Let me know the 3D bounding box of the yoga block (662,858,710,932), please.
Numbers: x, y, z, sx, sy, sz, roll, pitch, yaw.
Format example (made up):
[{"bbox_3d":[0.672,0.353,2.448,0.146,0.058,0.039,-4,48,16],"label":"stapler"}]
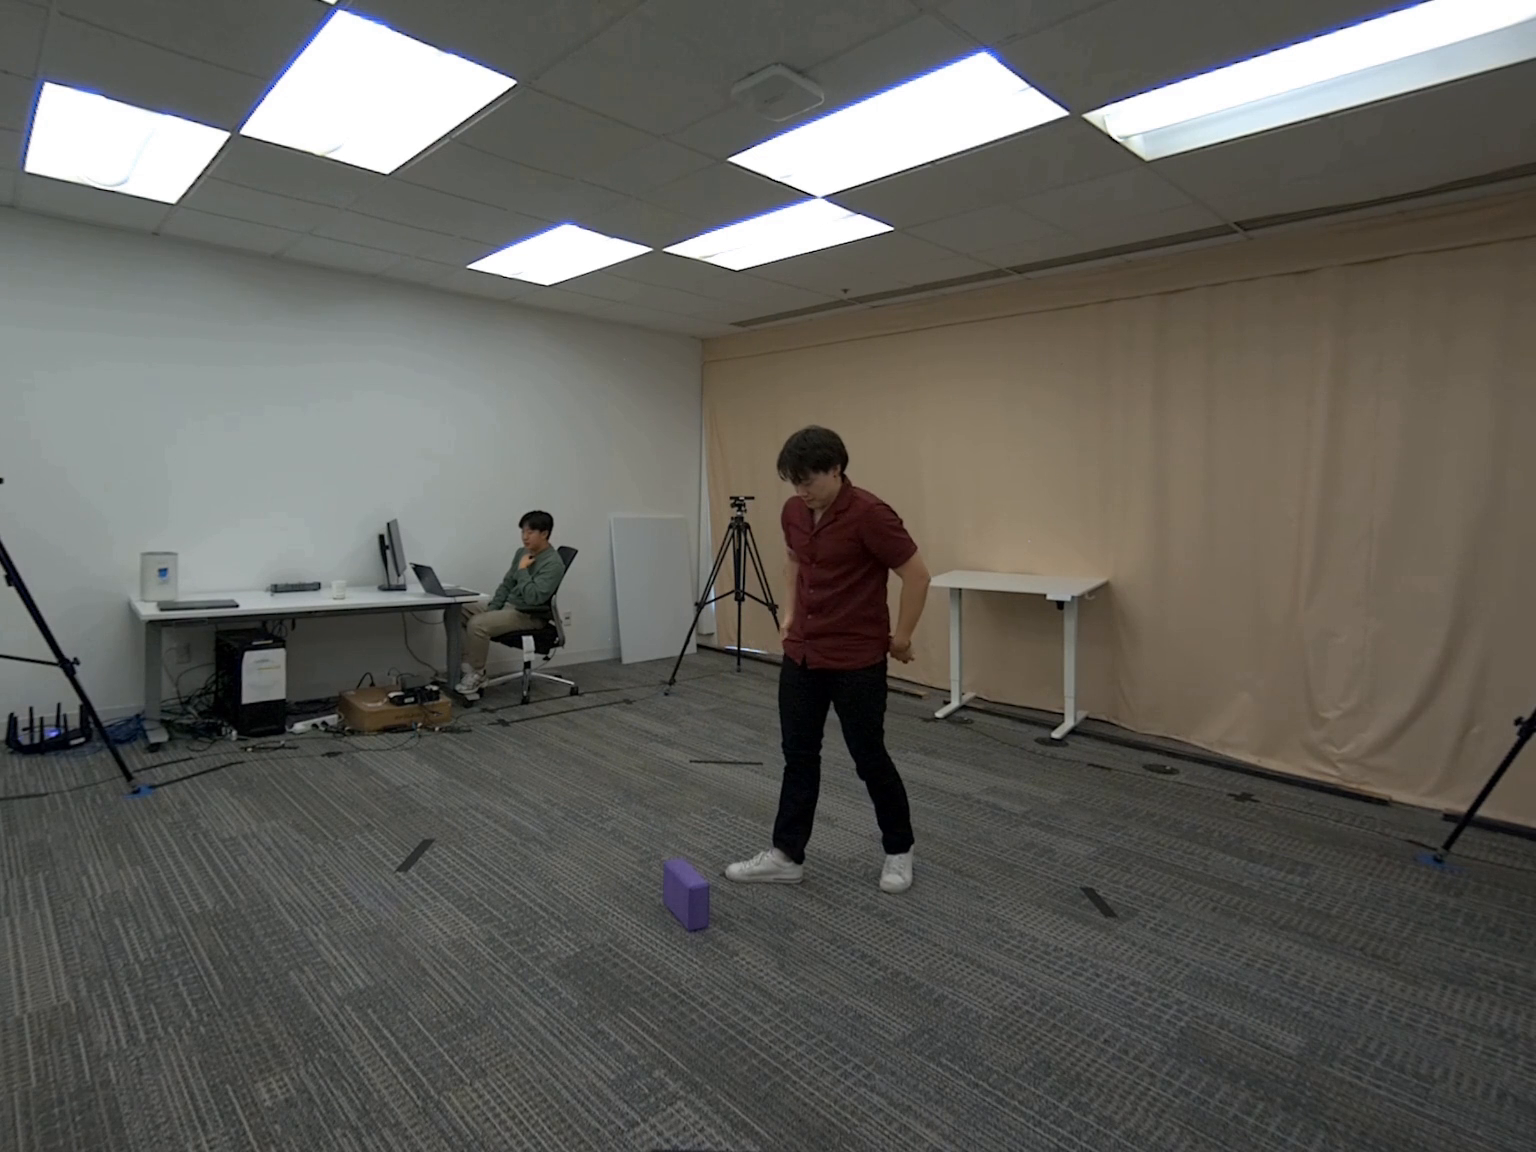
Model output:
[{"bbox_3d":[-0.280,1.054,2.795,0.075,0.148,0.234,-1,5,-28],"label":"yoga block"}]
